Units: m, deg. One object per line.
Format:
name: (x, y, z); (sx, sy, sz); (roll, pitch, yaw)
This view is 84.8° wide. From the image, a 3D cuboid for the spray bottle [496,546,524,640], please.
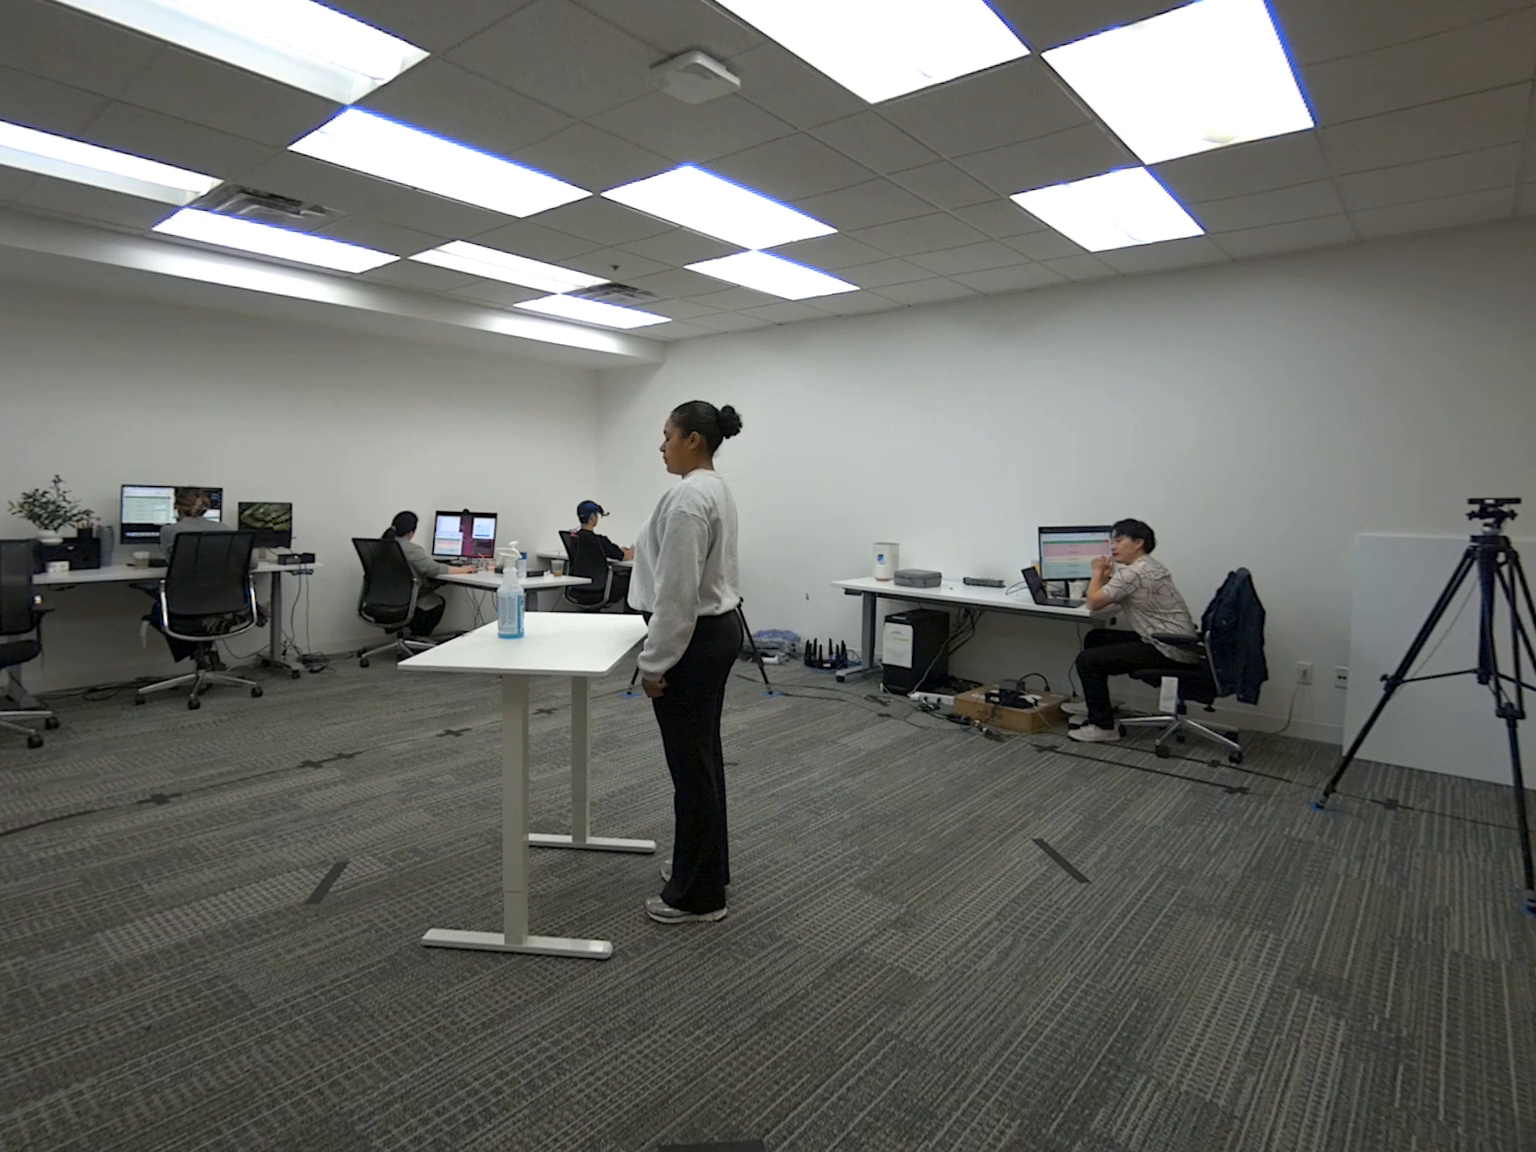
spray bottle: (-0.875, 0.055, 2.848); (0.093, 0.297, 0.084); (0, 2, 35)
